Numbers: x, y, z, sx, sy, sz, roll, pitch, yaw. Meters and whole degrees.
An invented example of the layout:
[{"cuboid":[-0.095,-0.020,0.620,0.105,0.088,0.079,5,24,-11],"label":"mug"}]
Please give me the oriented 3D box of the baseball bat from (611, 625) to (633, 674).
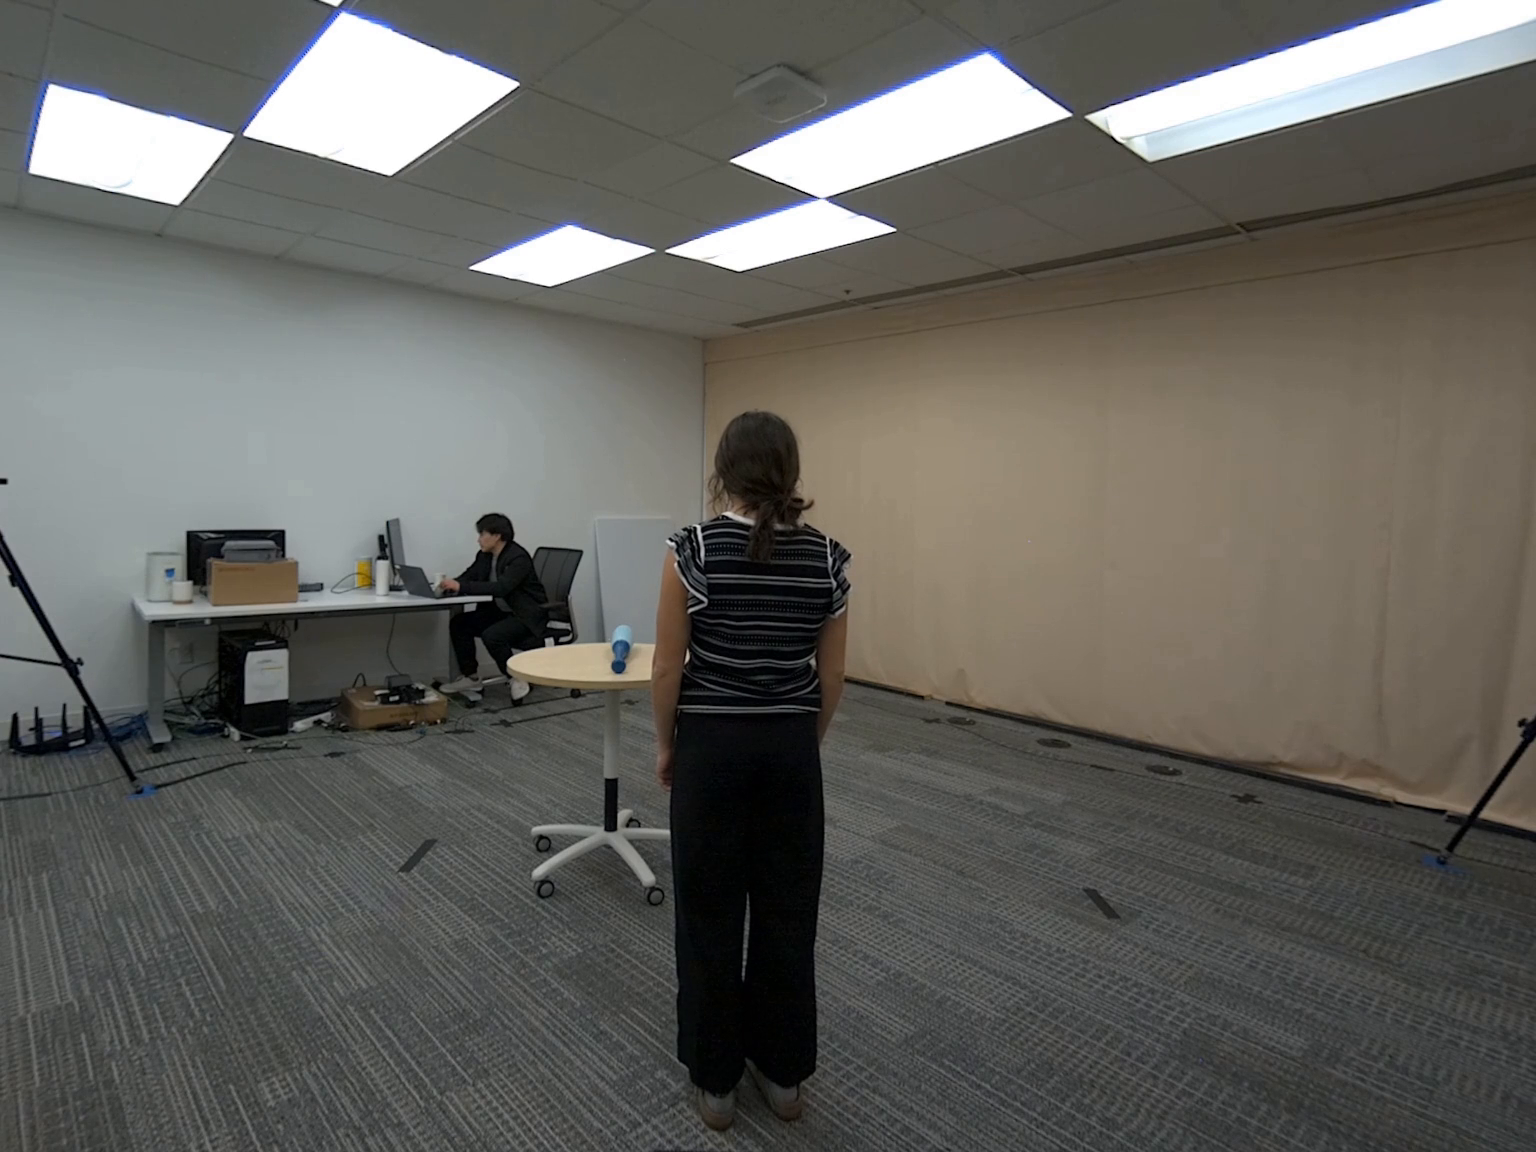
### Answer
[{"cuboid":[-0.558,0.275,3.125,0.088,0.088,0.548,1,7,-7],"label":"baseball bat"}]
